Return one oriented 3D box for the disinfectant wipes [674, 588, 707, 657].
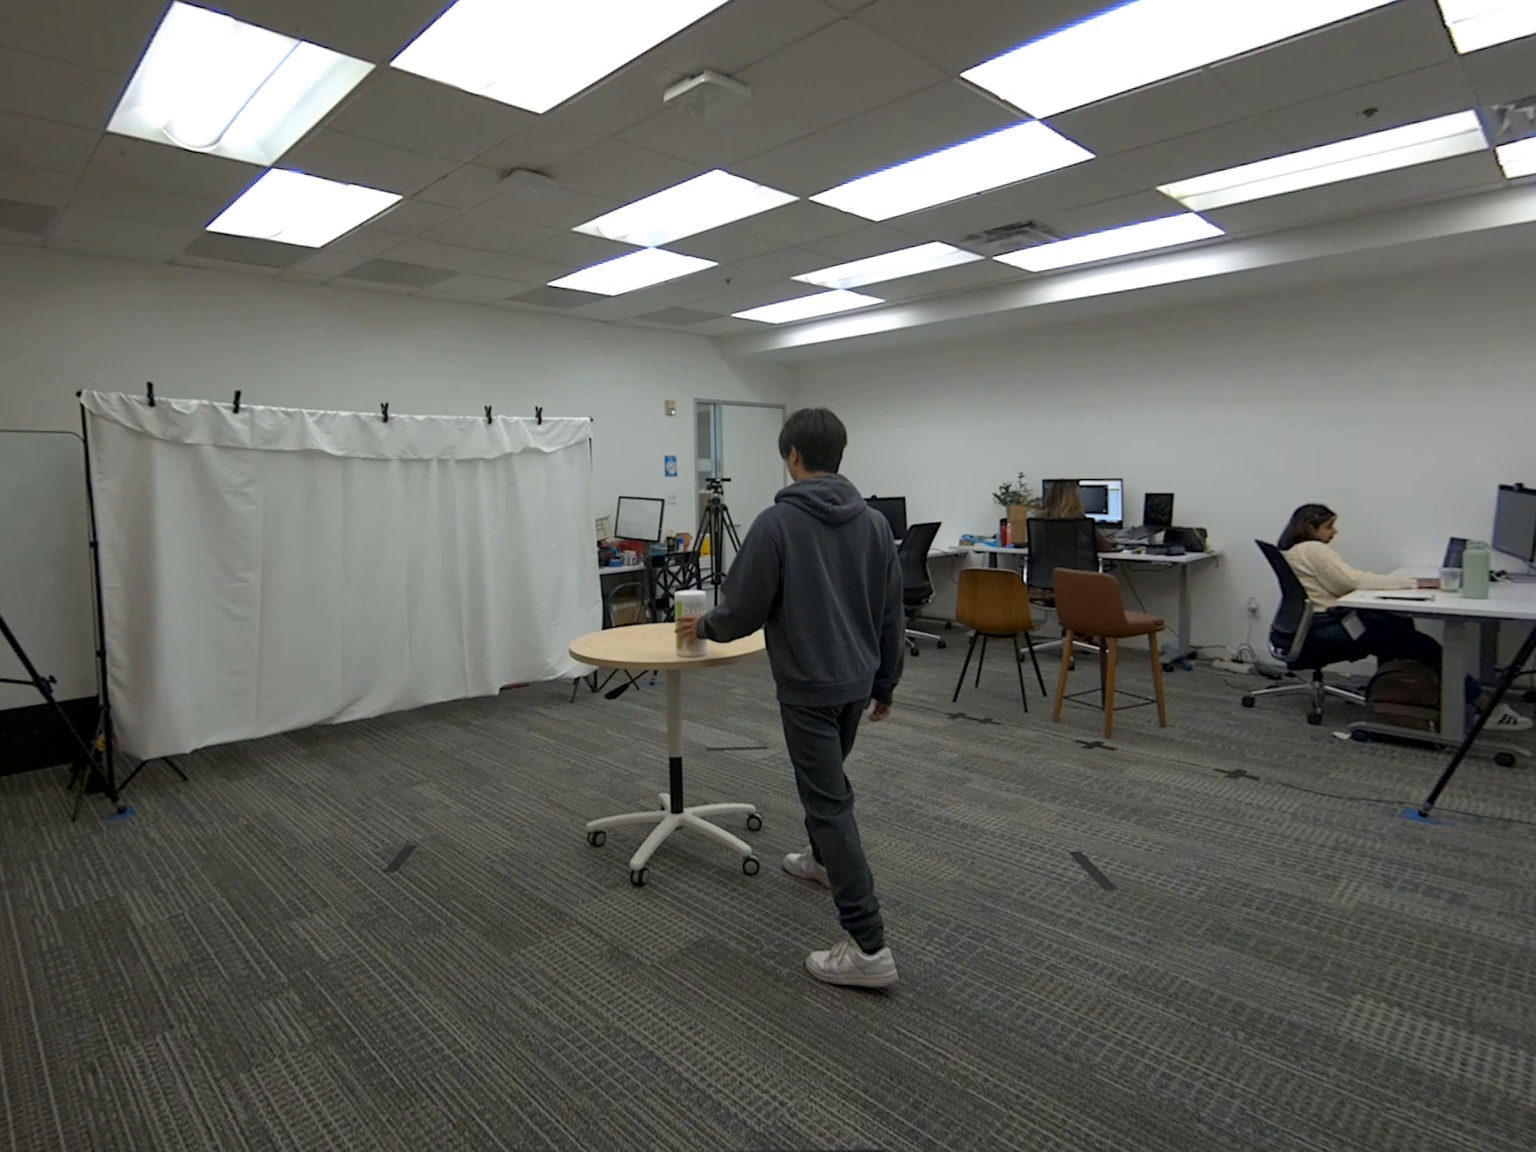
[{"bbox_3d":[-0.260,0.160,2.923,0.118,0.217,0.118,-1,4,-2],"label":"disinfectant wipes"}]
